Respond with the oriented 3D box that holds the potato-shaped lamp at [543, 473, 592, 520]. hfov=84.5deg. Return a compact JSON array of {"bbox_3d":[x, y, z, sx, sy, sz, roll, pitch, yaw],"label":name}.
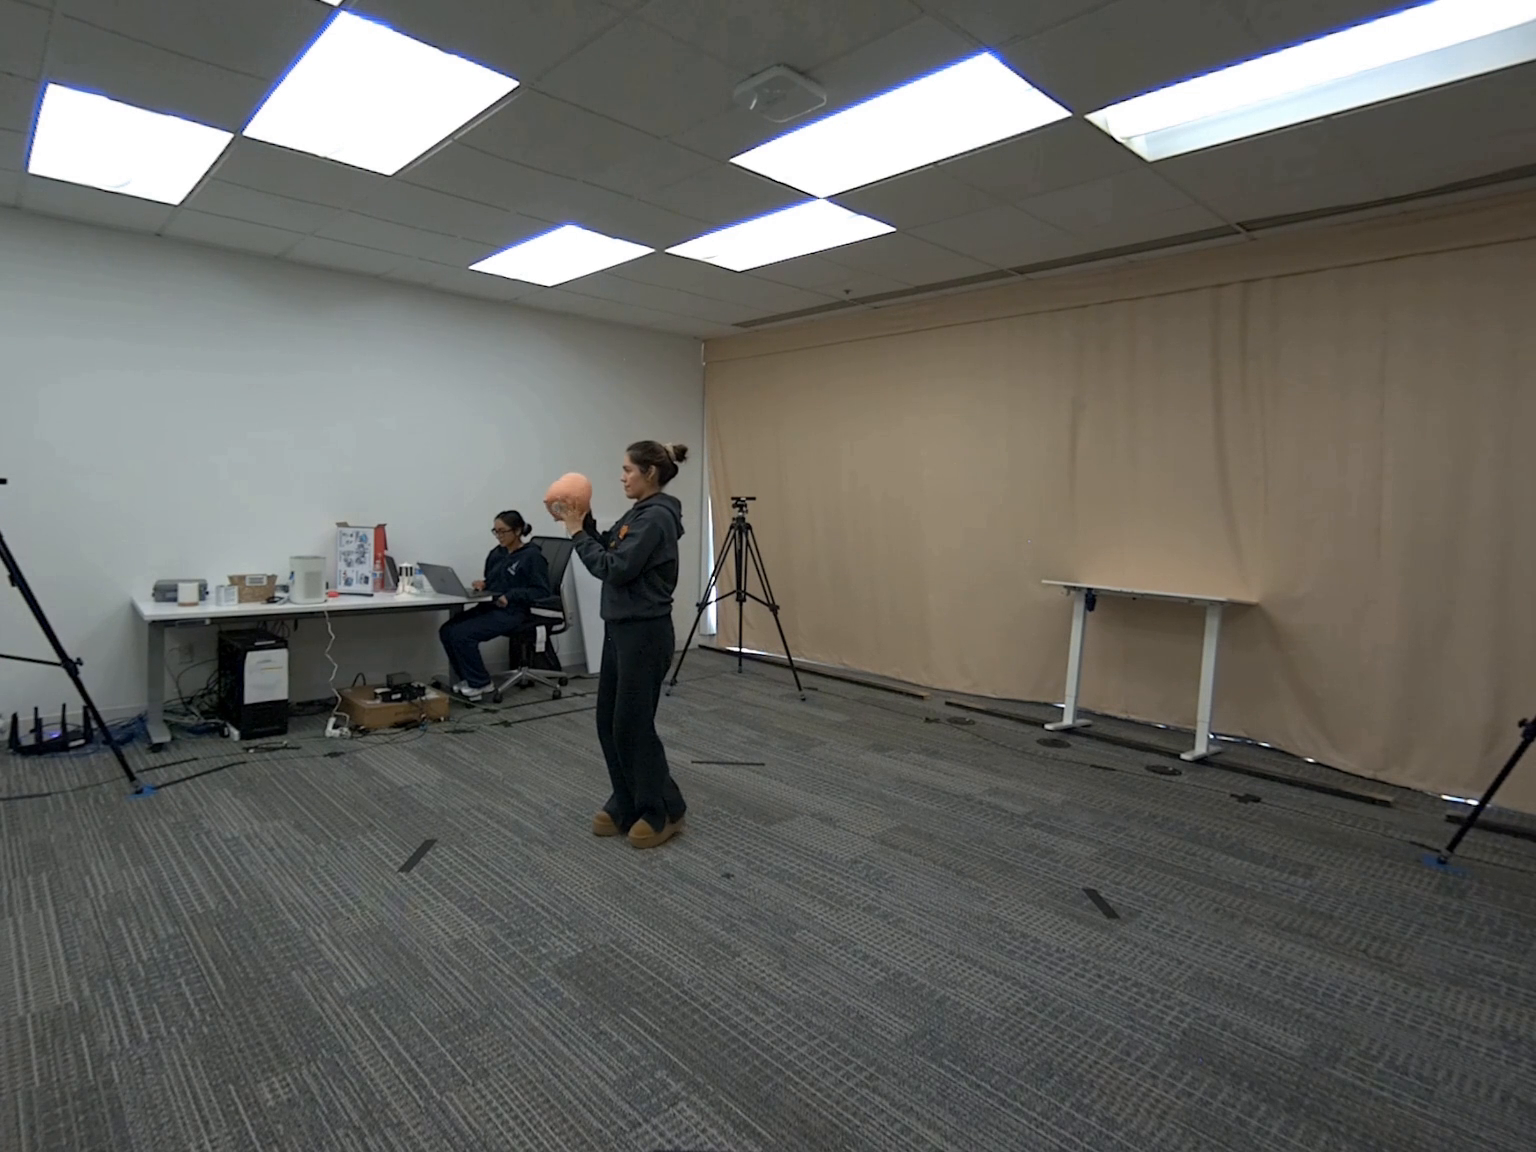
[{"bbox_3d":[-0.806,-0.332,3.414,0.174,0.160,0.201,-17,39,28],"label":"potato-shaped lamp"}]
